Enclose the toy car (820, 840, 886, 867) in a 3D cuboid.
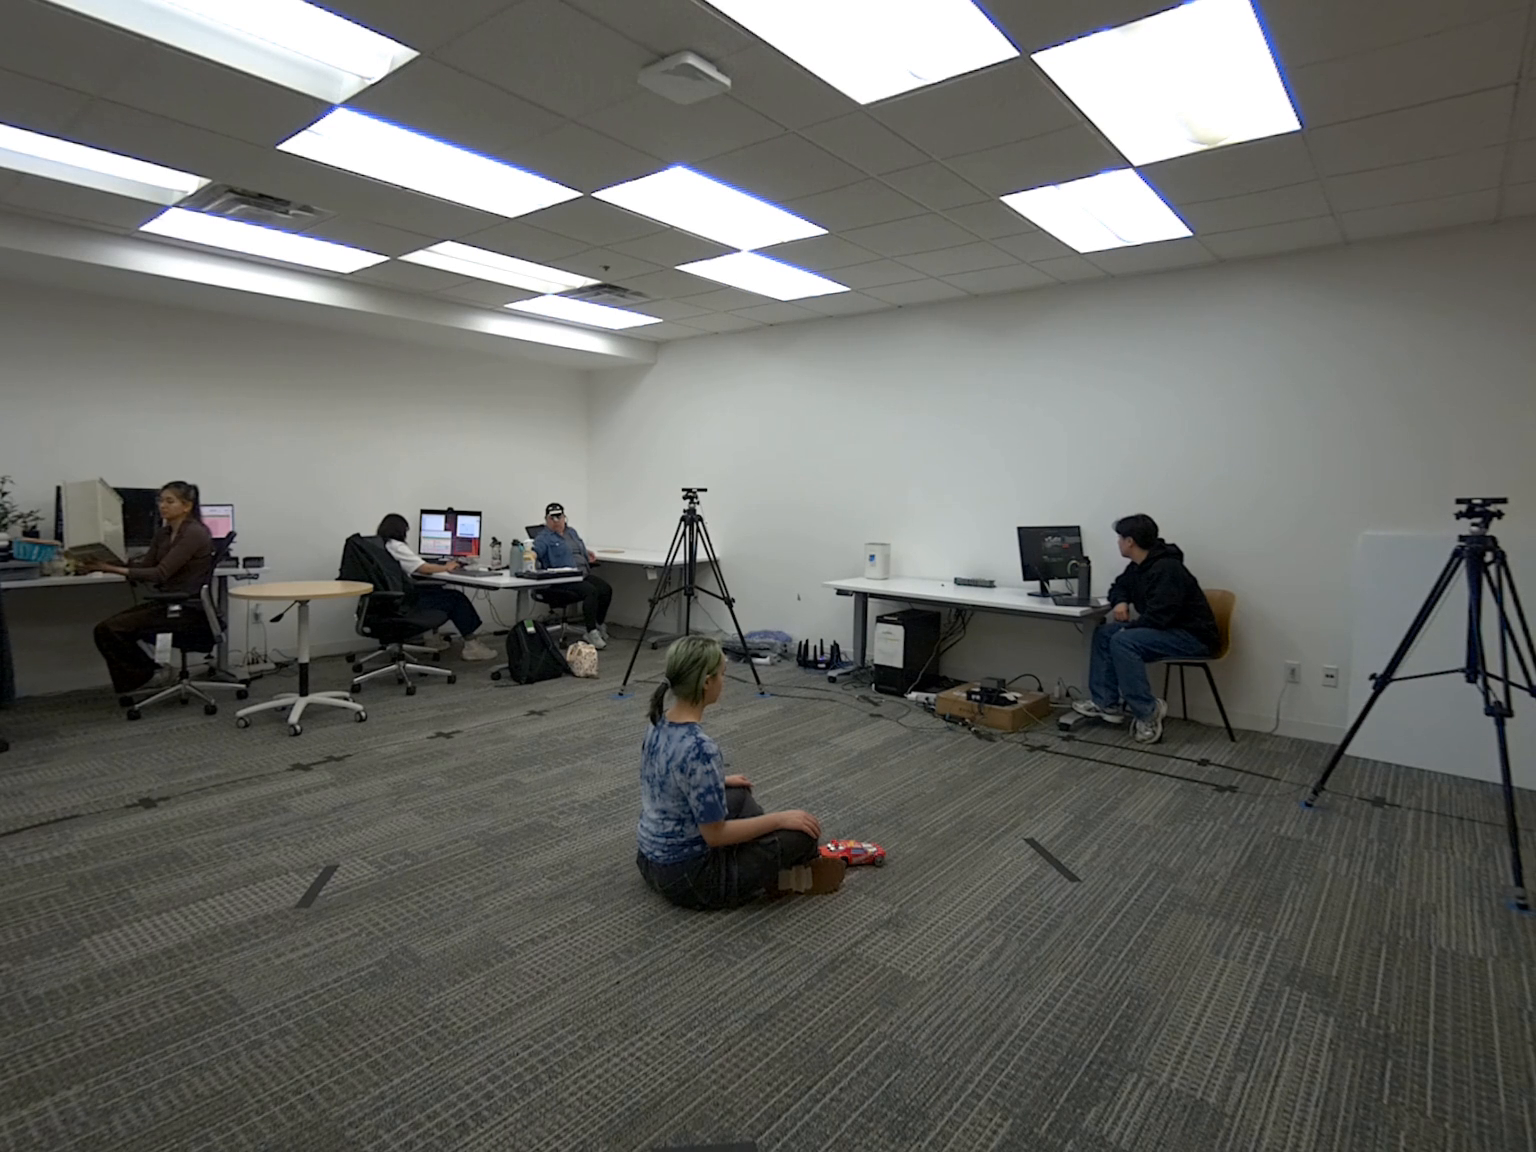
[{"bbox_3d":[0.302,1.043,3.186,0.250,0.083,0.133,12,3,-15],"label":"toy car"}]
